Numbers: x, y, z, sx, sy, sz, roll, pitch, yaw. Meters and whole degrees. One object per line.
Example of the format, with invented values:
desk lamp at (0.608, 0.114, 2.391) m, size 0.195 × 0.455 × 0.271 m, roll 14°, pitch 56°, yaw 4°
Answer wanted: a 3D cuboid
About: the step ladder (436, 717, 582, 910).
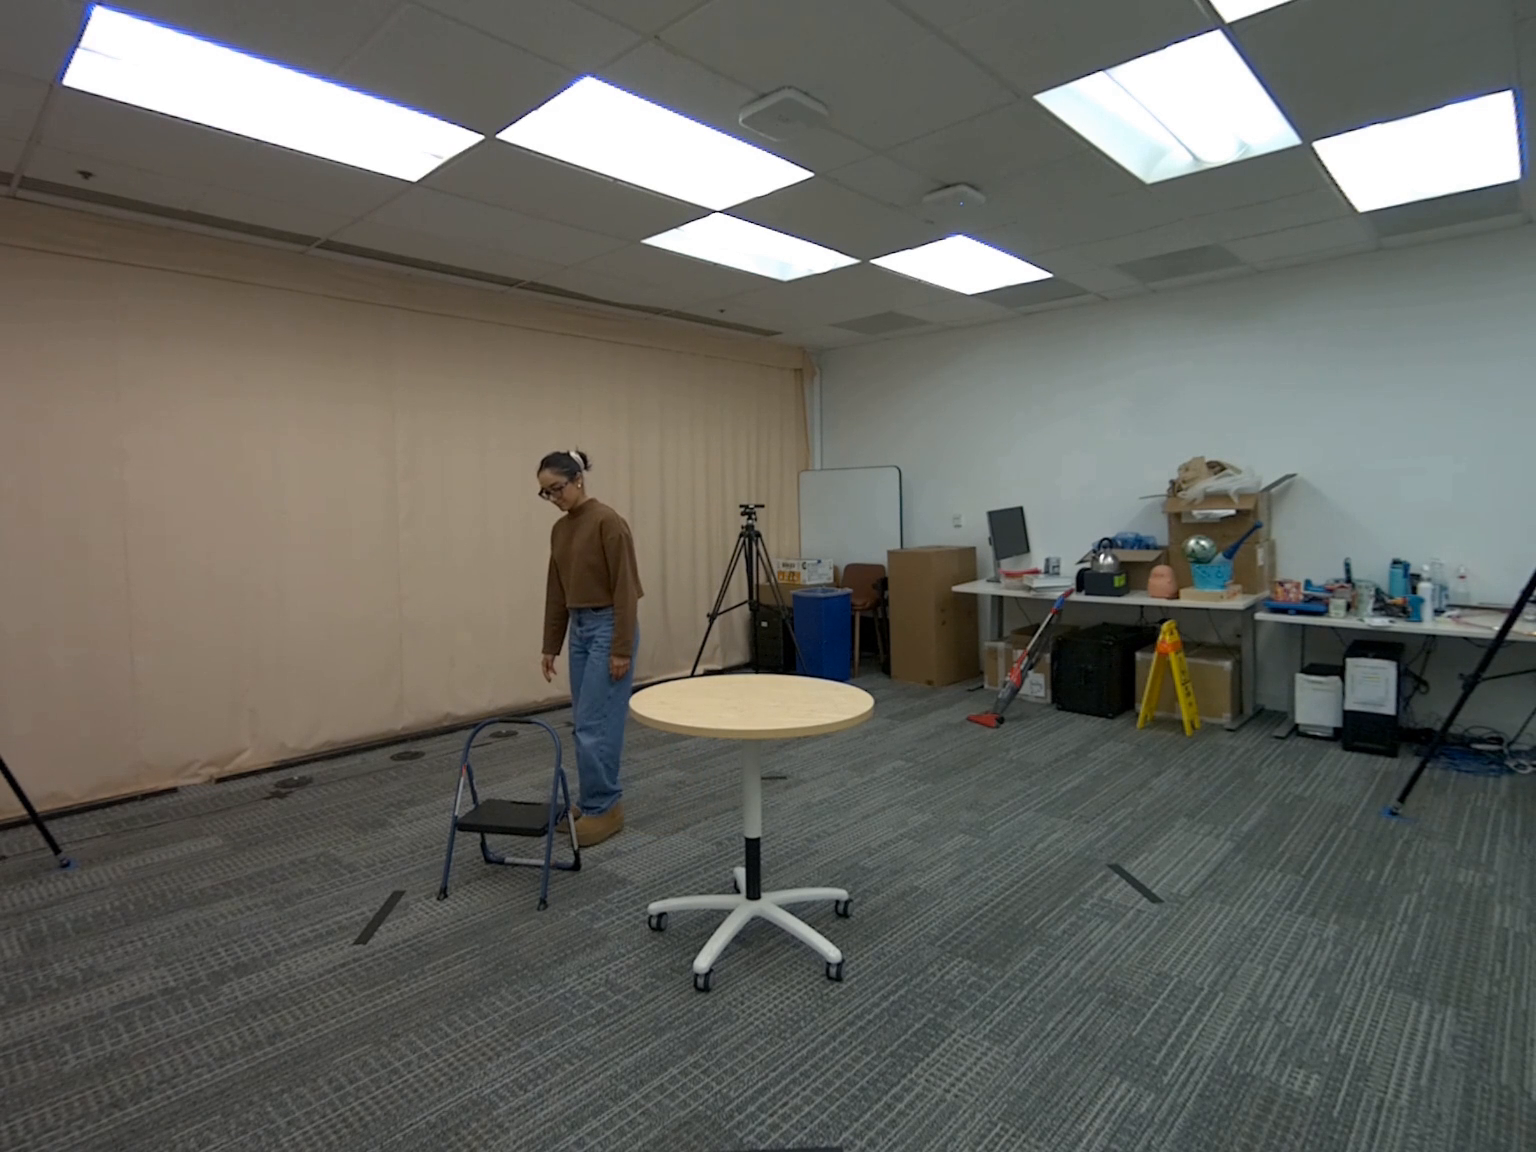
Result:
step ladder at (-0.960, 0.847, 3.130) m, size 0.437 × 0.605 × 0.345 m, roll 0°, pitch 3°, yaw 13°
